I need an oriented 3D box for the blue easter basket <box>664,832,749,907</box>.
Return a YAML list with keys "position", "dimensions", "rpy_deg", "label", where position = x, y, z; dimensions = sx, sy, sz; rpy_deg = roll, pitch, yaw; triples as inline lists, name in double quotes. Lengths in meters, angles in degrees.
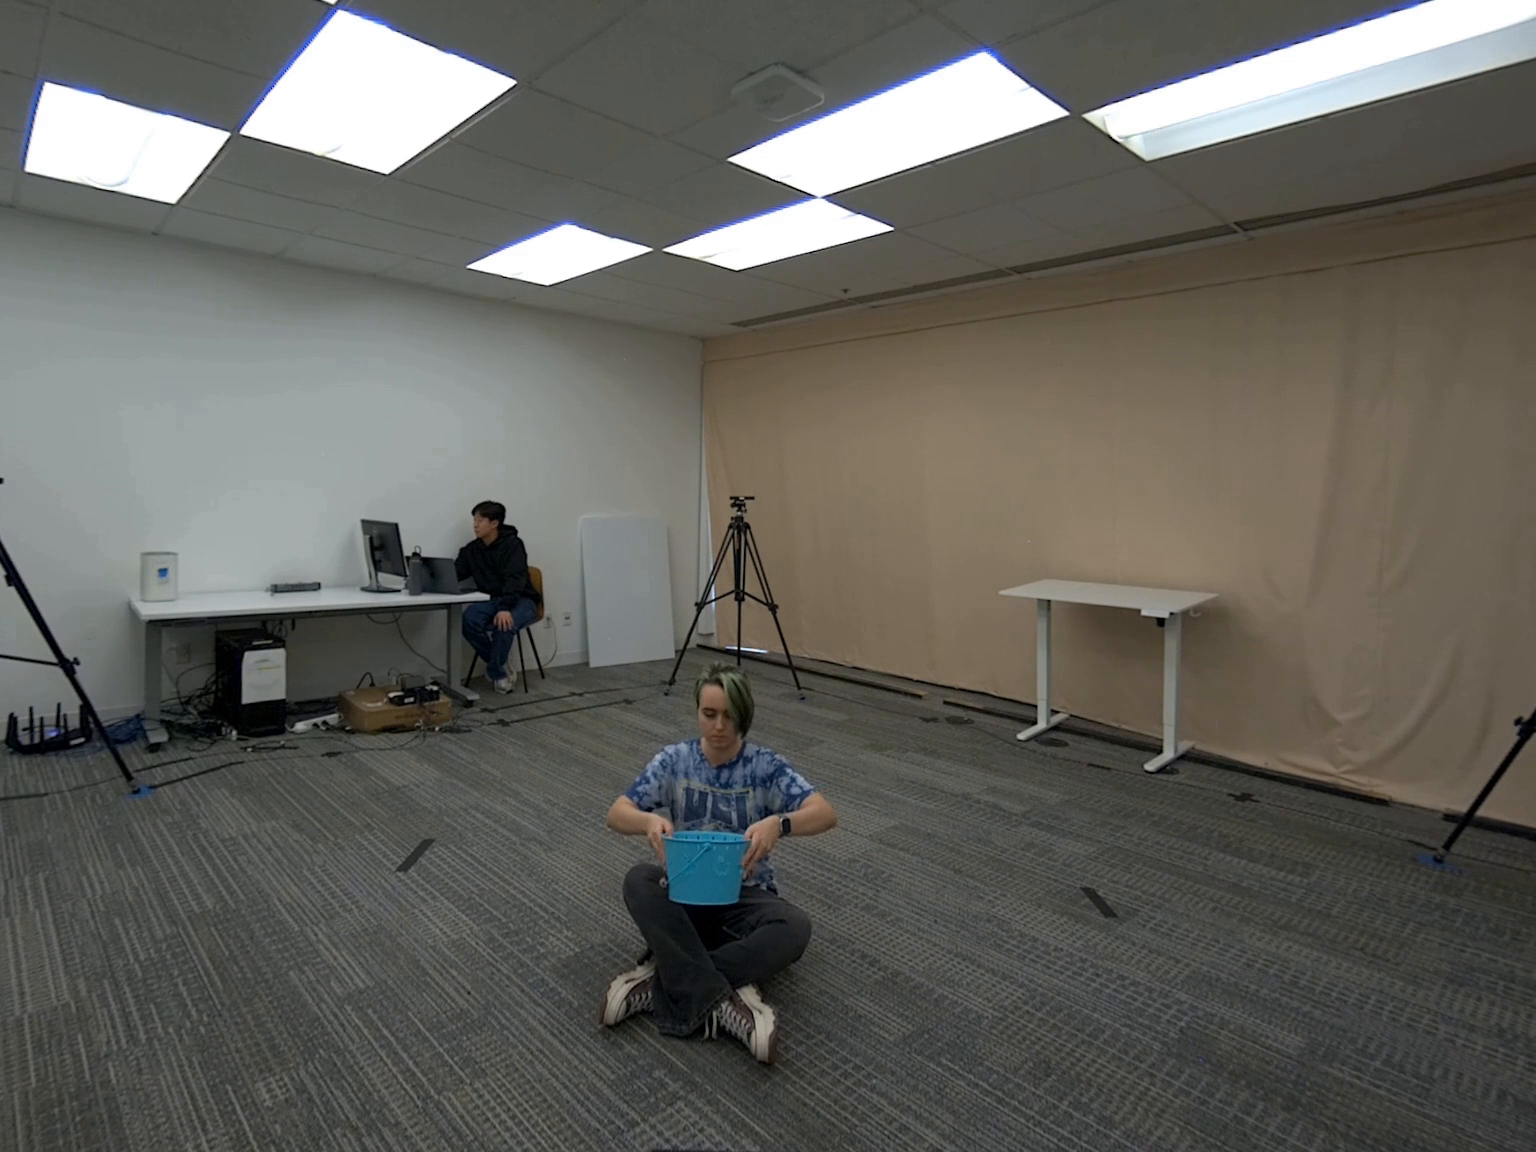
- position: [-0.180, 0.759, 2.170]
  dimensions: [0.243, 0.157, 0.242]
  rpy_deg: [2, -10, -1]
  label: "blue easter basket"
